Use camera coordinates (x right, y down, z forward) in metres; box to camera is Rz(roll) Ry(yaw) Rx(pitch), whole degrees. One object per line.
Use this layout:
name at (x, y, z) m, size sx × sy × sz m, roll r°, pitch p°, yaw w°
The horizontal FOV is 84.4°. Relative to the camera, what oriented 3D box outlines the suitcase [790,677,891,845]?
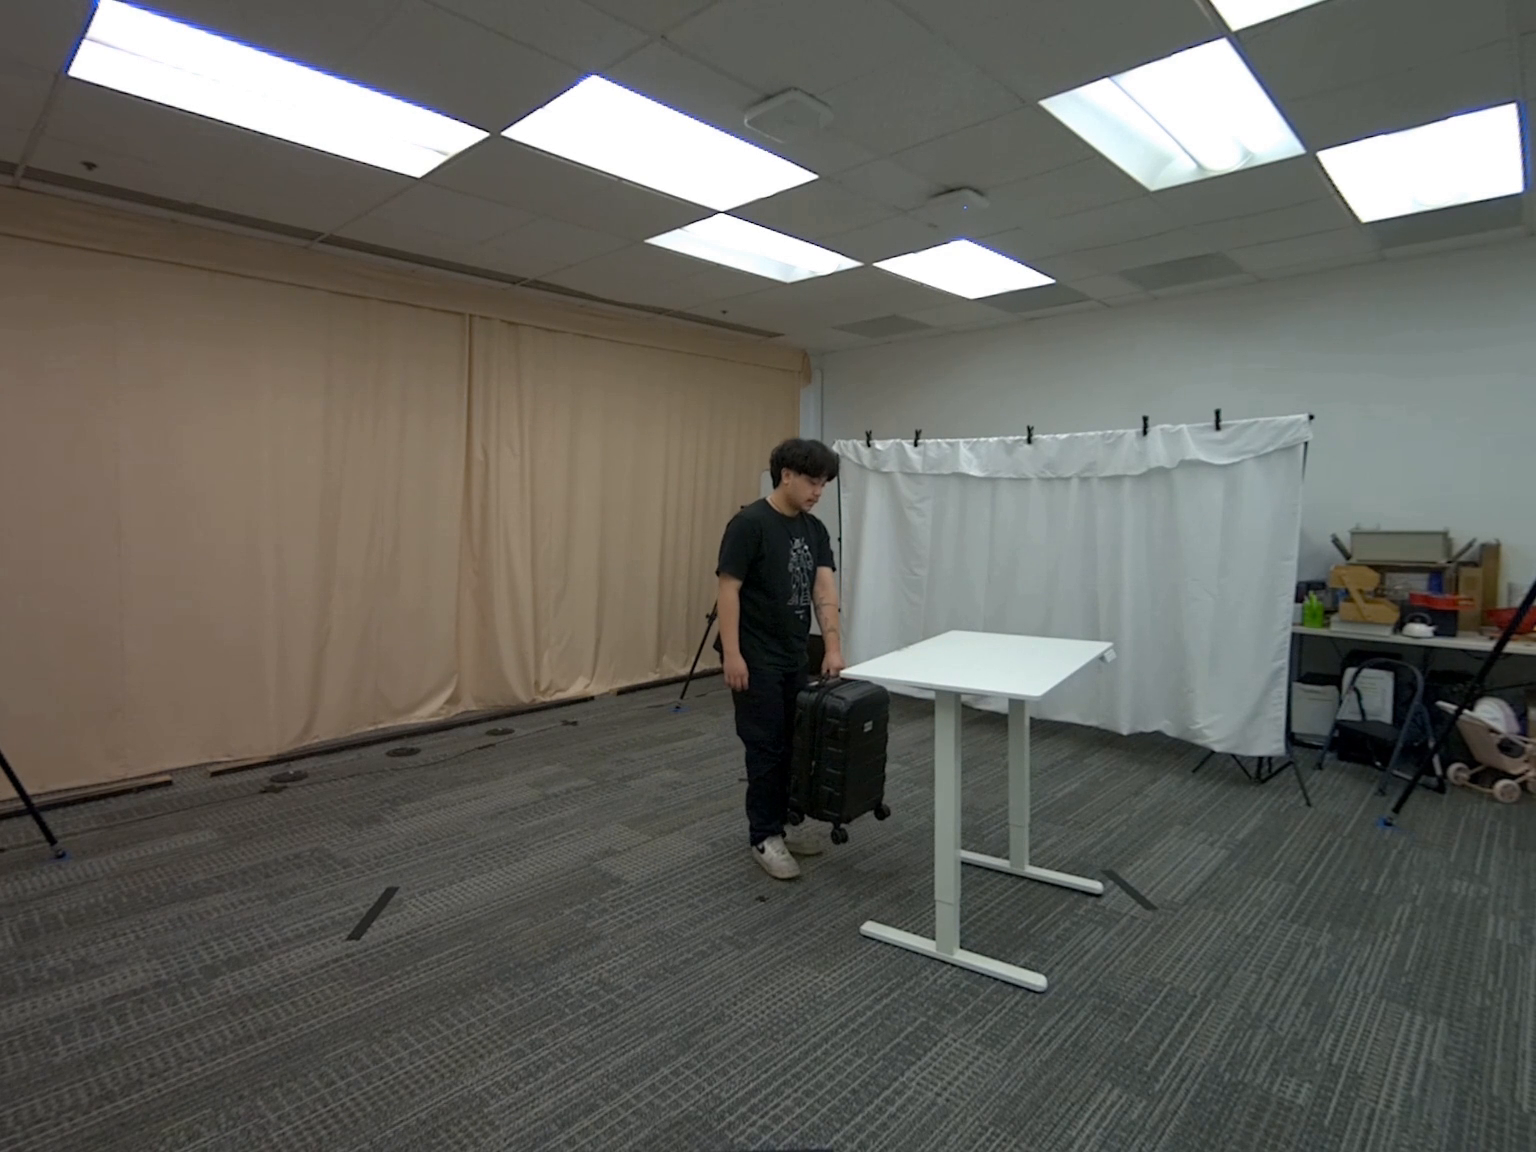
suitcase at (0.283, 0.674, 3.225) m, size 0.257 × 0.547 × 0.364 m, roll 8°, pitch 8°, yaw 41°
